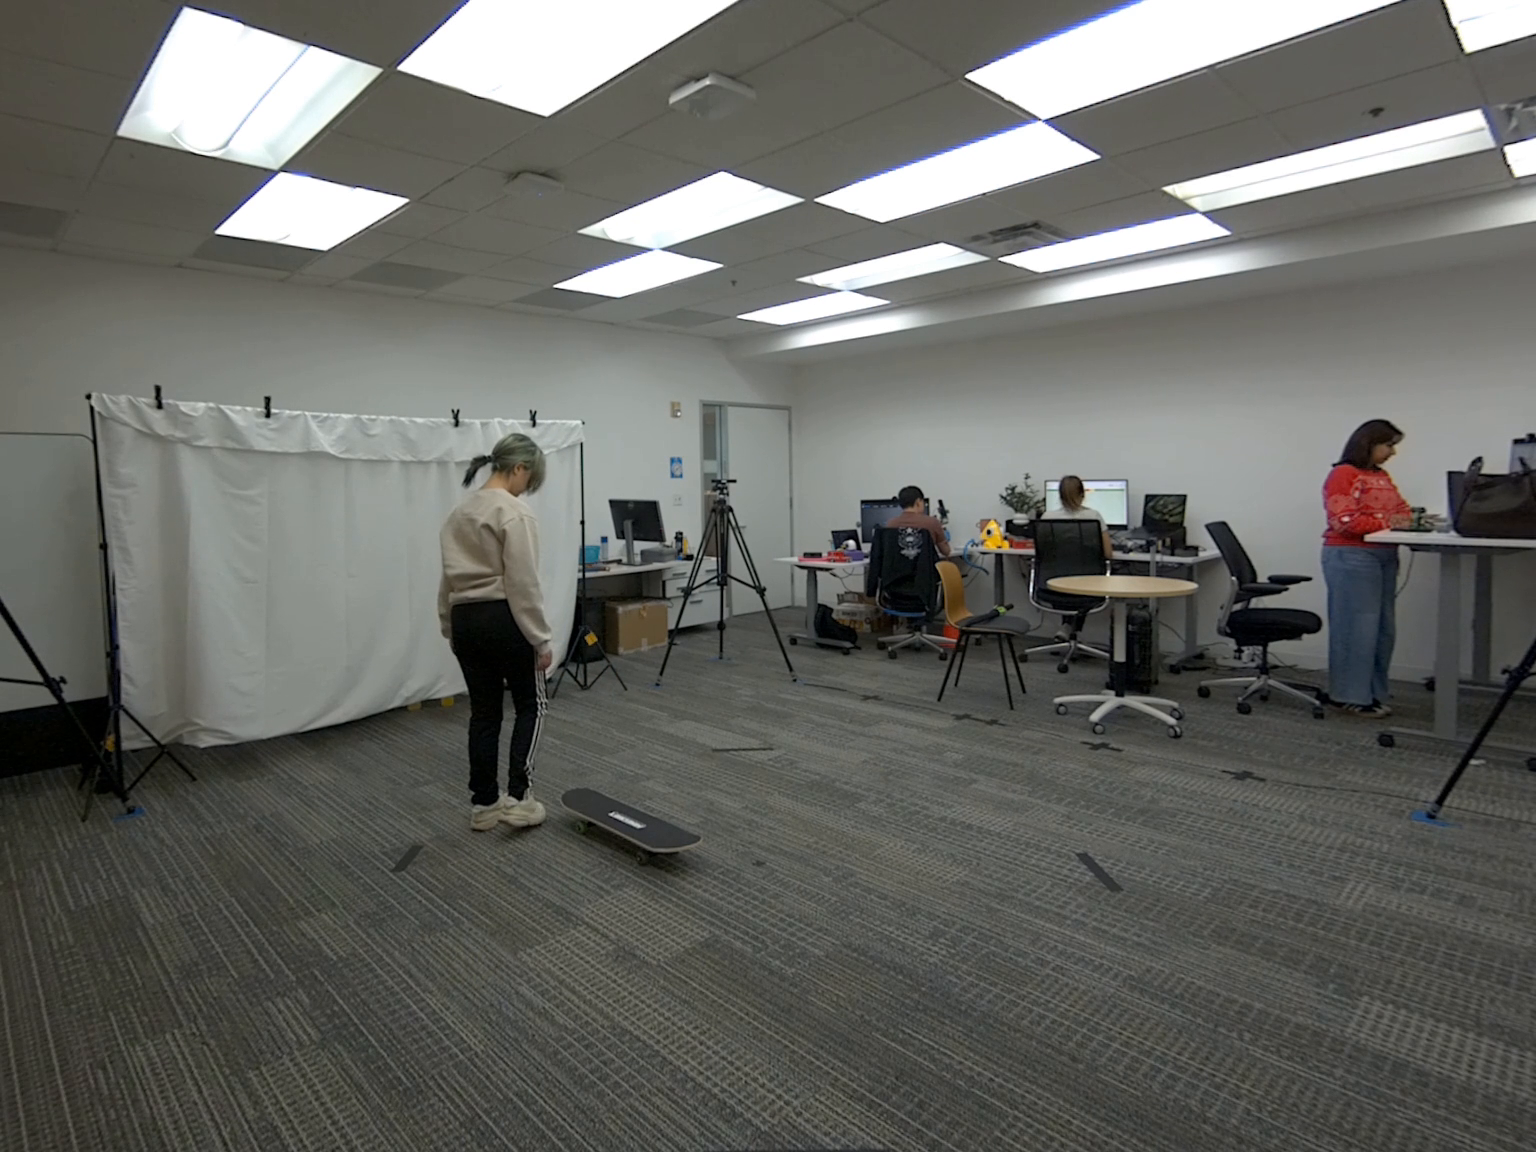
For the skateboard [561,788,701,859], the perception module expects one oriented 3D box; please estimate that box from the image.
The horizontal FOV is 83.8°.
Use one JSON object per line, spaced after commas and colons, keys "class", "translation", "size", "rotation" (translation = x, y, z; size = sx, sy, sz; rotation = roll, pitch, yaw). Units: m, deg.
{"class": "skateboard", "translation": [-0.541, 0.981, 3.310], "size": [0.188, 0.110, 0.809], "rotation": [-6, 7, -43]}
